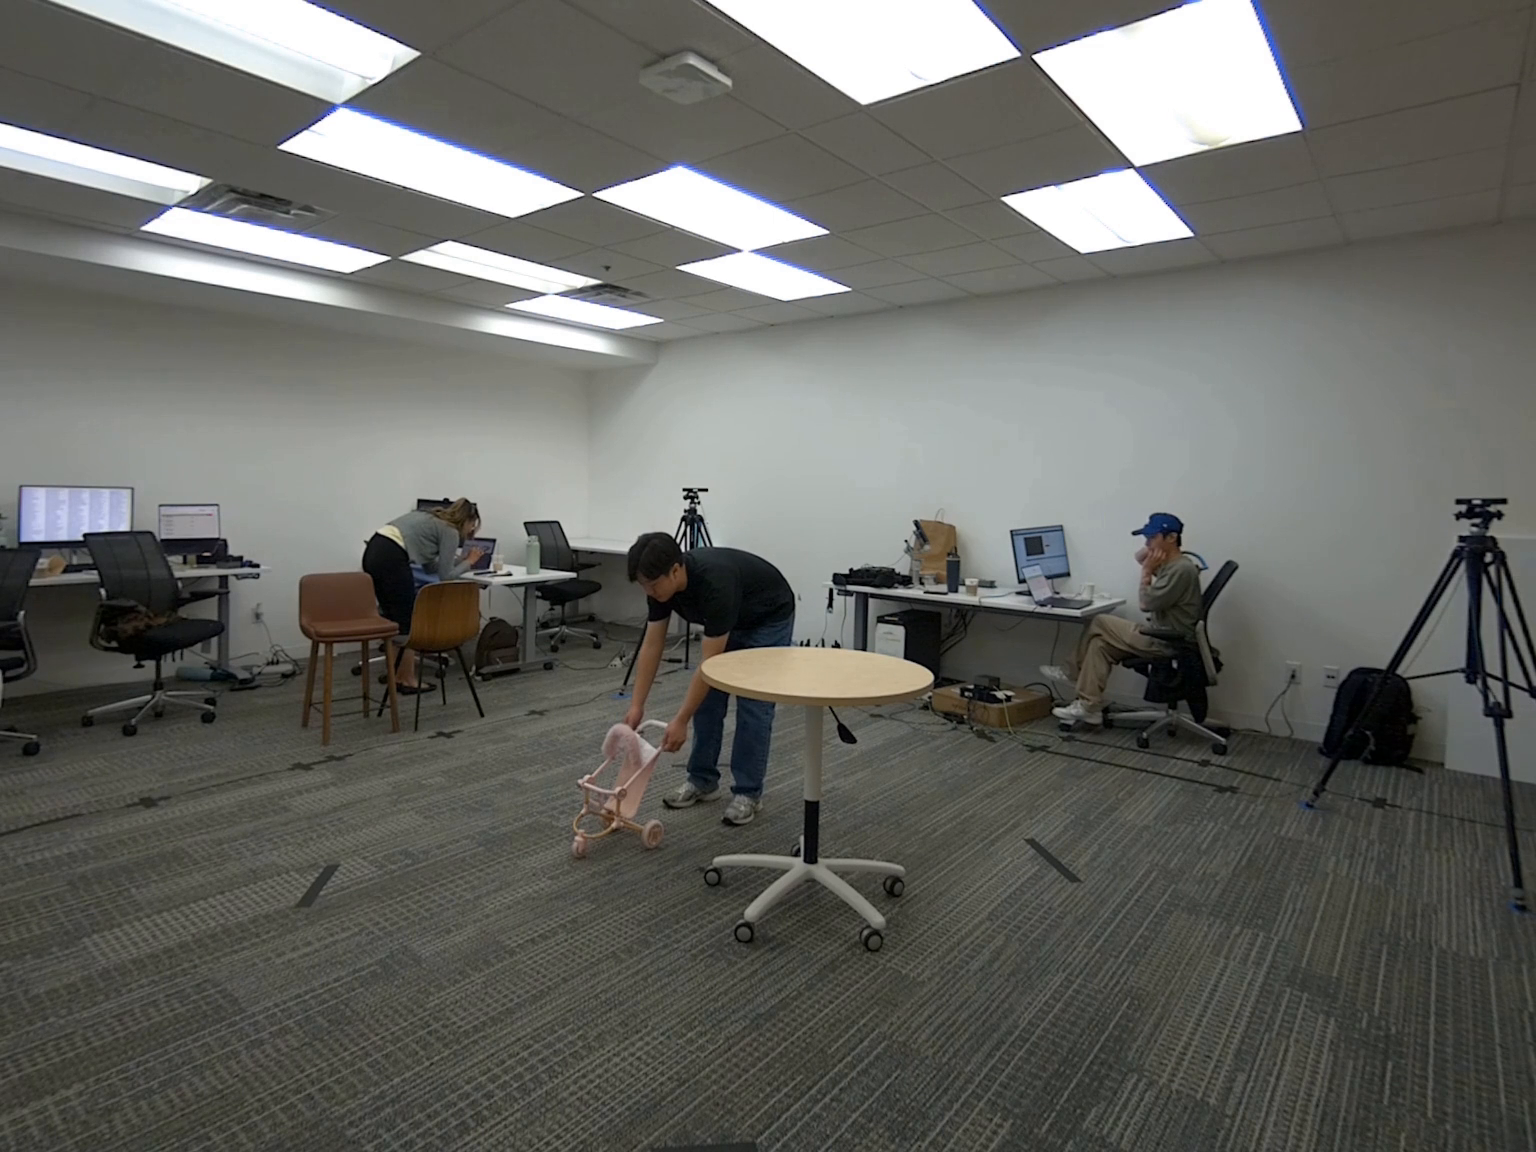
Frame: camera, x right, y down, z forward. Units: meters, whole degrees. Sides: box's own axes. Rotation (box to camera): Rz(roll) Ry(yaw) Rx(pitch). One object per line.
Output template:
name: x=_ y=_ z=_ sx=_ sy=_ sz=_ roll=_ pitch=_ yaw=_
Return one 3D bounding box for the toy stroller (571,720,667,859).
toy stroller: x=-0.592 y=0.817 z=3.317 sx=0.291 sy=0.538 sz=0.328 roll=4 pitch=-11 yaw=46
